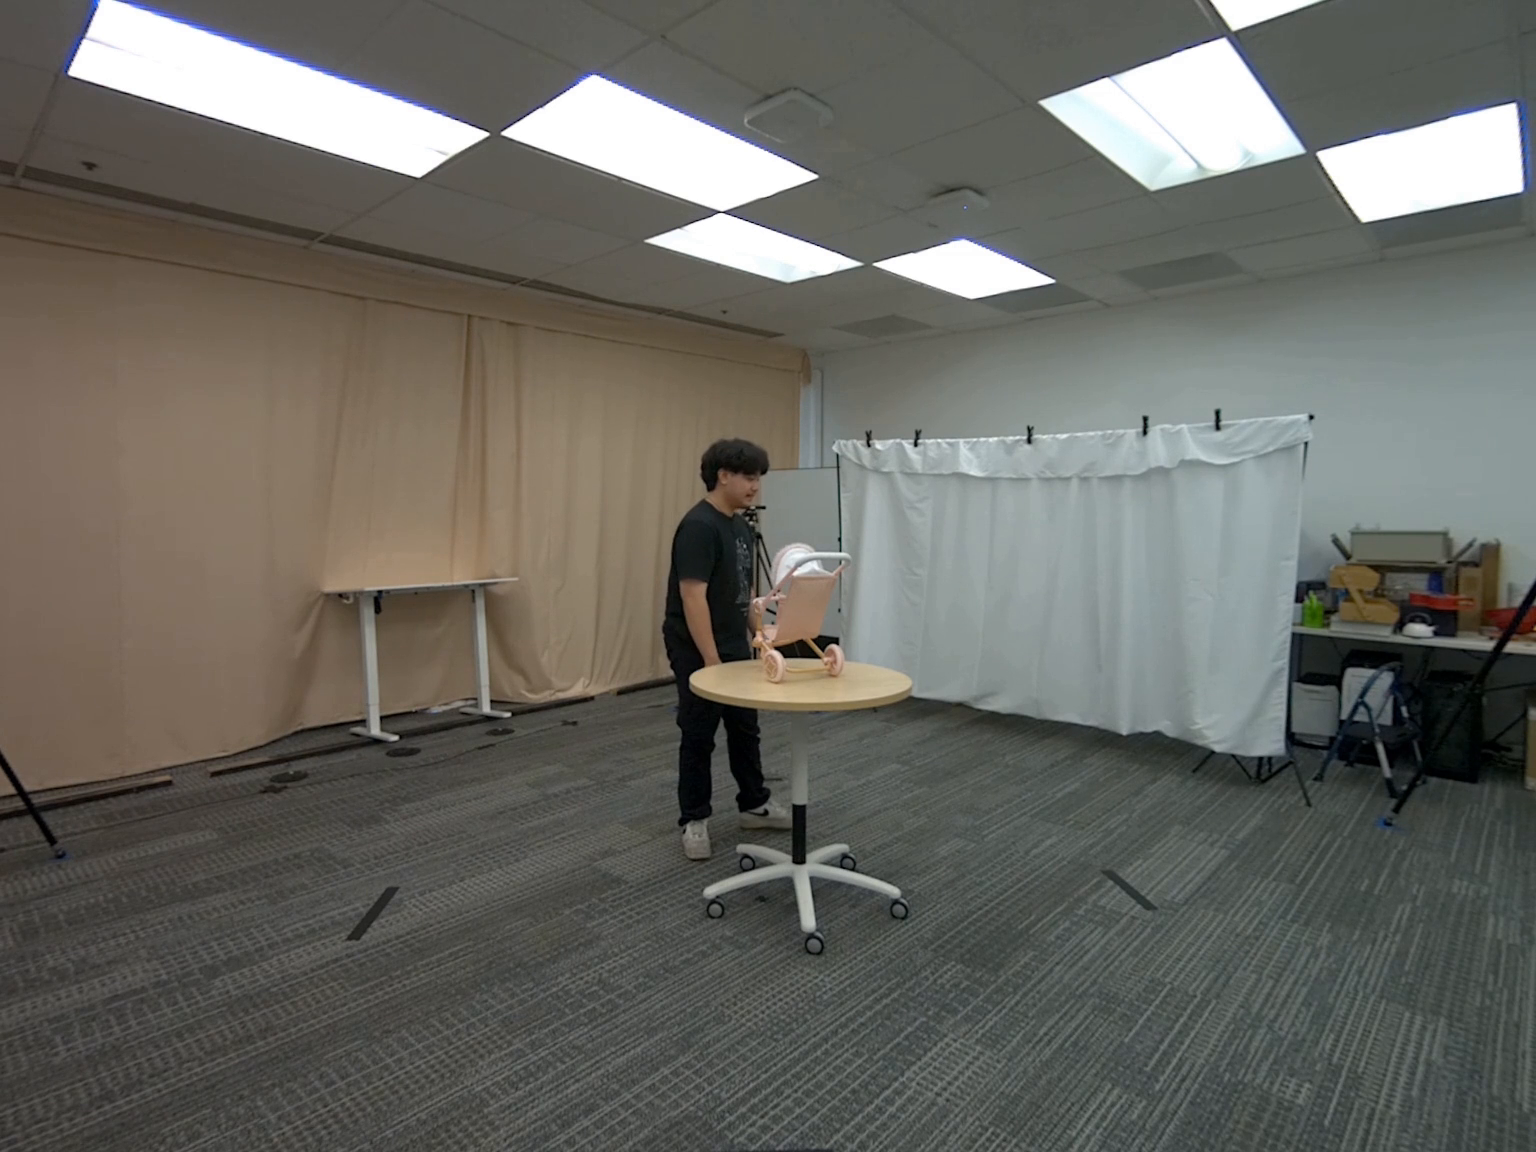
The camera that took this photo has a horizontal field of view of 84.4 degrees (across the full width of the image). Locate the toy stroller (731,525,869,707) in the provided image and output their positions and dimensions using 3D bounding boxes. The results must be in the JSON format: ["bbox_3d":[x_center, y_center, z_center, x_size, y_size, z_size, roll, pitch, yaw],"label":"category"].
[{"bbox_3d":[0.097,0.123,2.959,0.275,0.531,0.352,0,17,-25],"label":"toy stroller"}]
